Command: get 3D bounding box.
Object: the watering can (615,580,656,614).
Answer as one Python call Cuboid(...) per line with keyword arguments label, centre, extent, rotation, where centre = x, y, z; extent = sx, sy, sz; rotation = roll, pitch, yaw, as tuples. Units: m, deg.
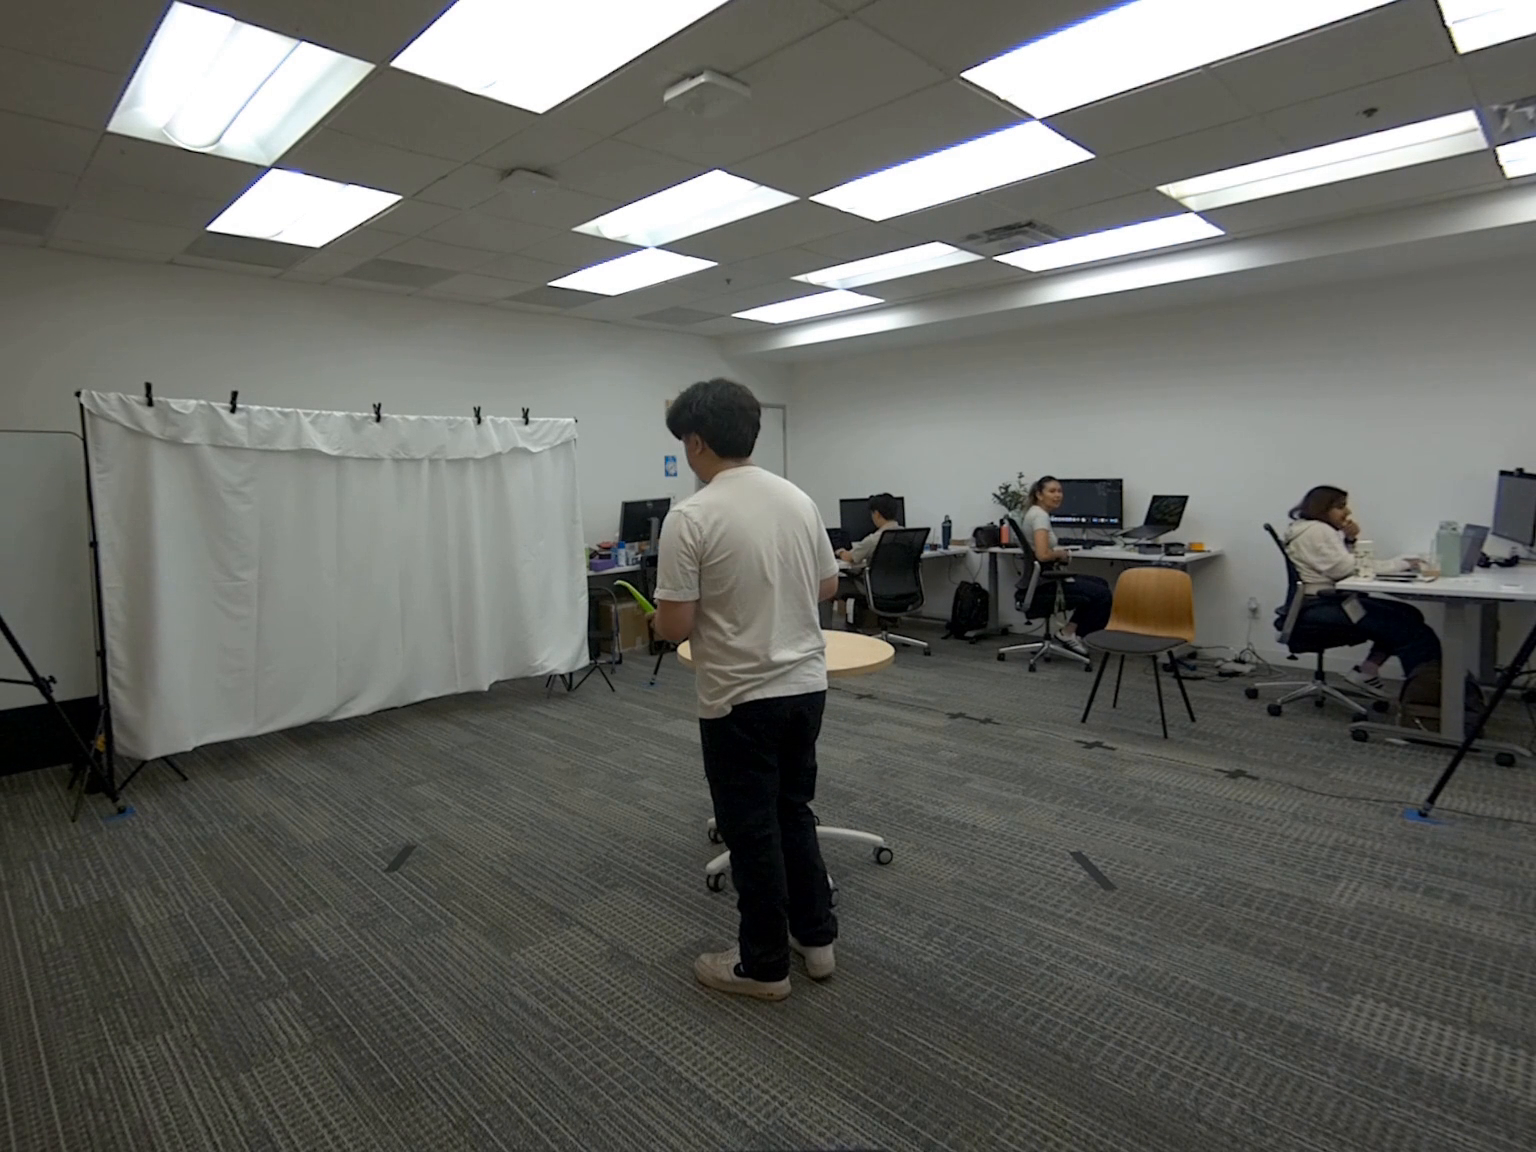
Cuboid(label="watering can", centre=(-0.313, 0.090, 2.533), extent=(0.280, 0.176, 0.097), rotation=(-5, 2, 6))
